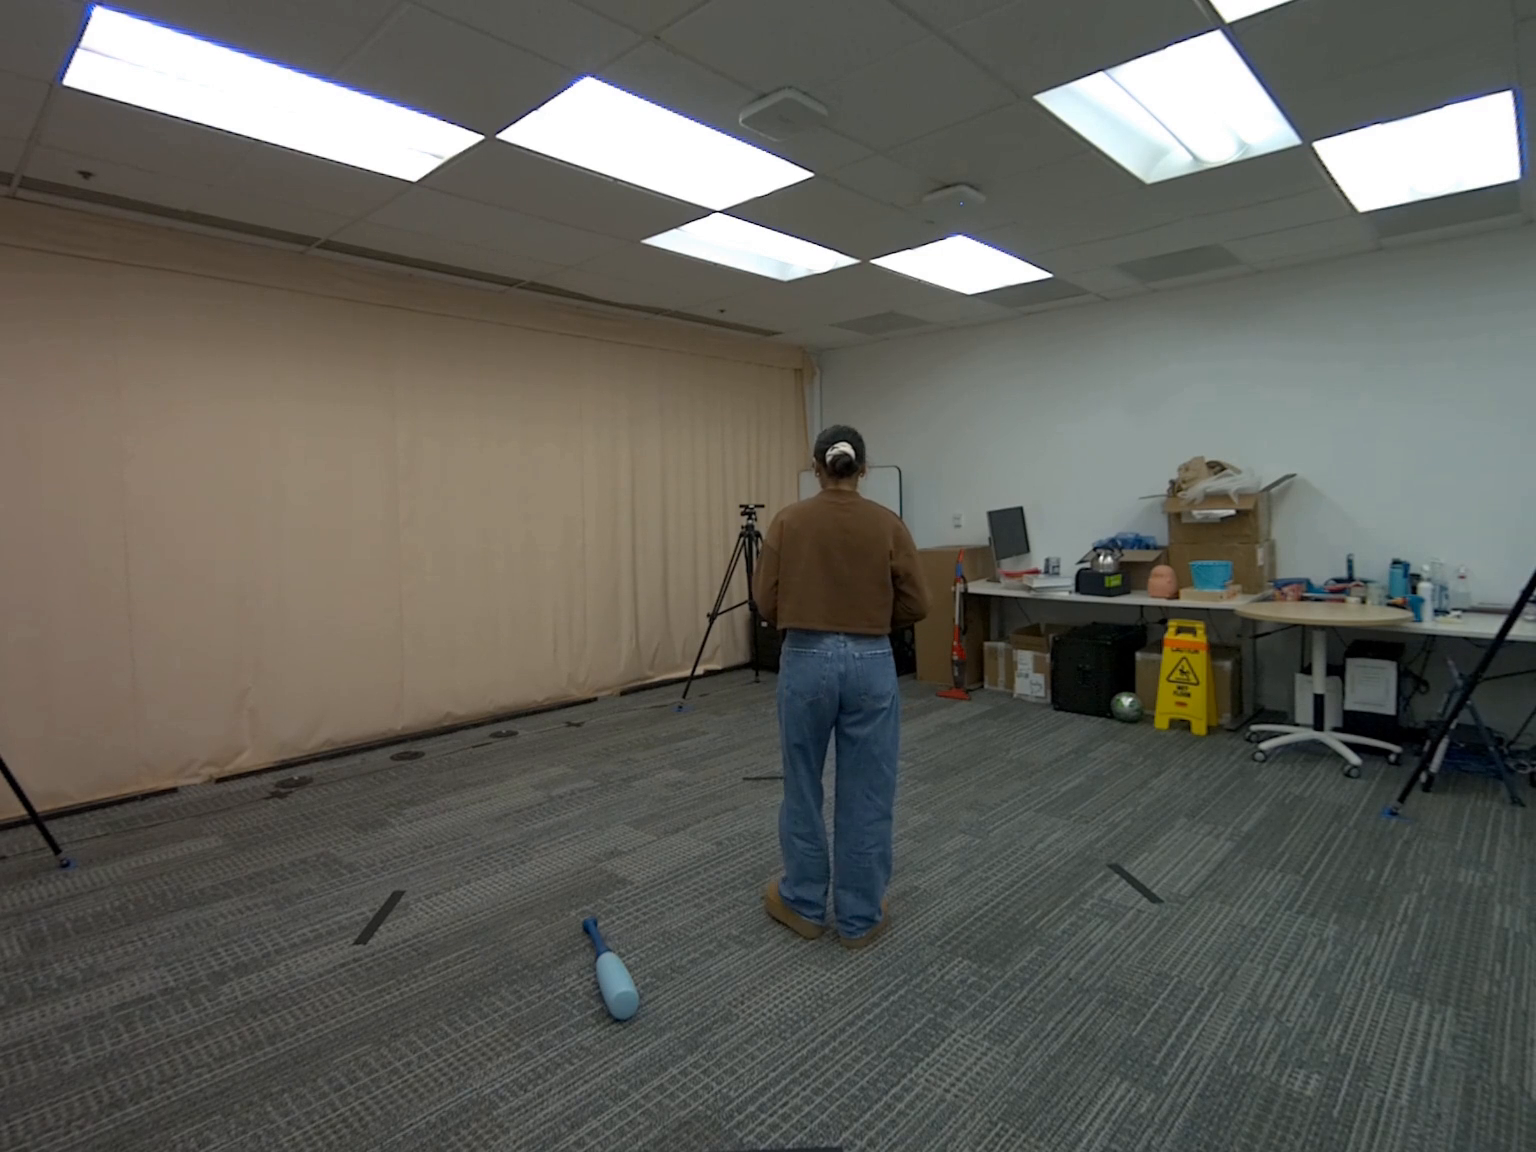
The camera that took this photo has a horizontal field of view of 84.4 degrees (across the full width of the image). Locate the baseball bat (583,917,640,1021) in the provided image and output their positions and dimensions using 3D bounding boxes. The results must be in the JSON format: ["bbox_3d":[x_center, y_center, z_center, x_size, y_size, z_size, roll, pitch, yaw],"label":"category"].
[{"bbox_3d":[-0.480,1.153,2.519,0.087,0.089,0.553,-2,2,-20],"label":"baseball bat"}]
